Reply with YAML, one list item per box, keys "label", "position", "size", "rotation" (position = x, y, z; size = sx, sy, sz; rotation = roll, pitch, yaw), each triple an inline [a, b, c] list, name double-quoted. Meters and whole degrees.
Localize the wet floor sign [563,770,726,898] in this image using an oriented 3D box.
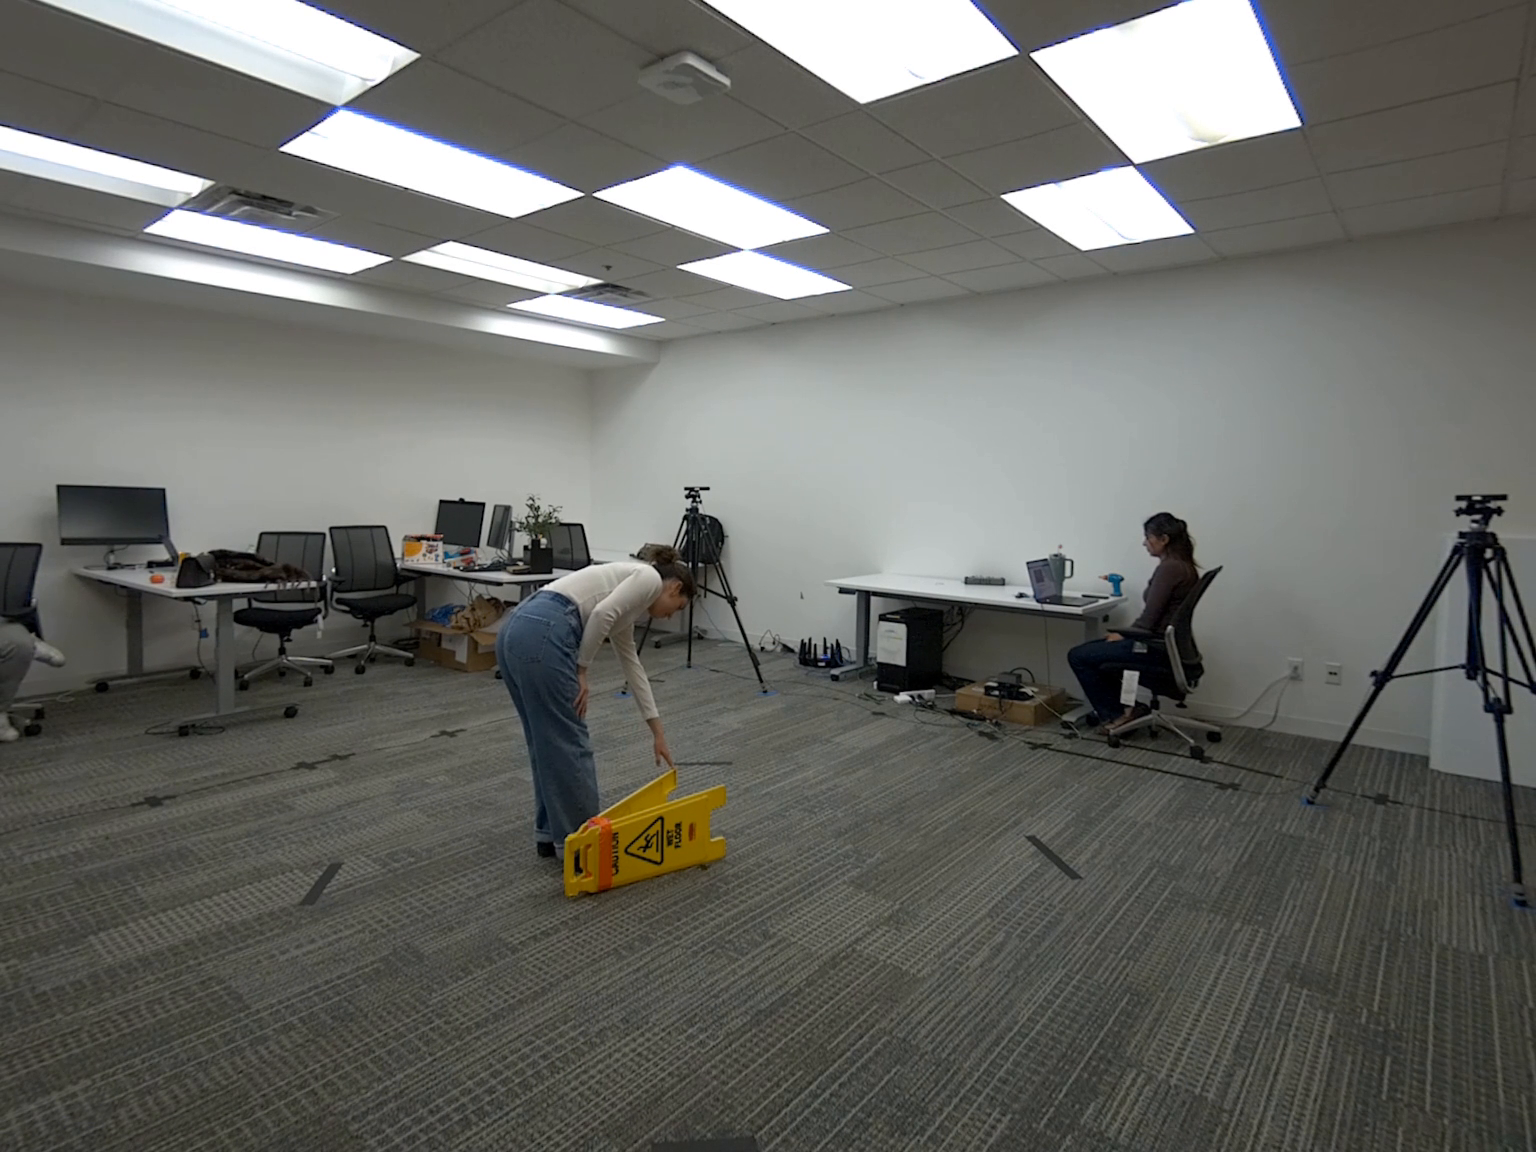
- label: "wet floor sign"
  position: [-0.472, 0.939, 3.051]
  size: [0.299, 0.281, 0.628]
  rotation: [3, 7, 40]
